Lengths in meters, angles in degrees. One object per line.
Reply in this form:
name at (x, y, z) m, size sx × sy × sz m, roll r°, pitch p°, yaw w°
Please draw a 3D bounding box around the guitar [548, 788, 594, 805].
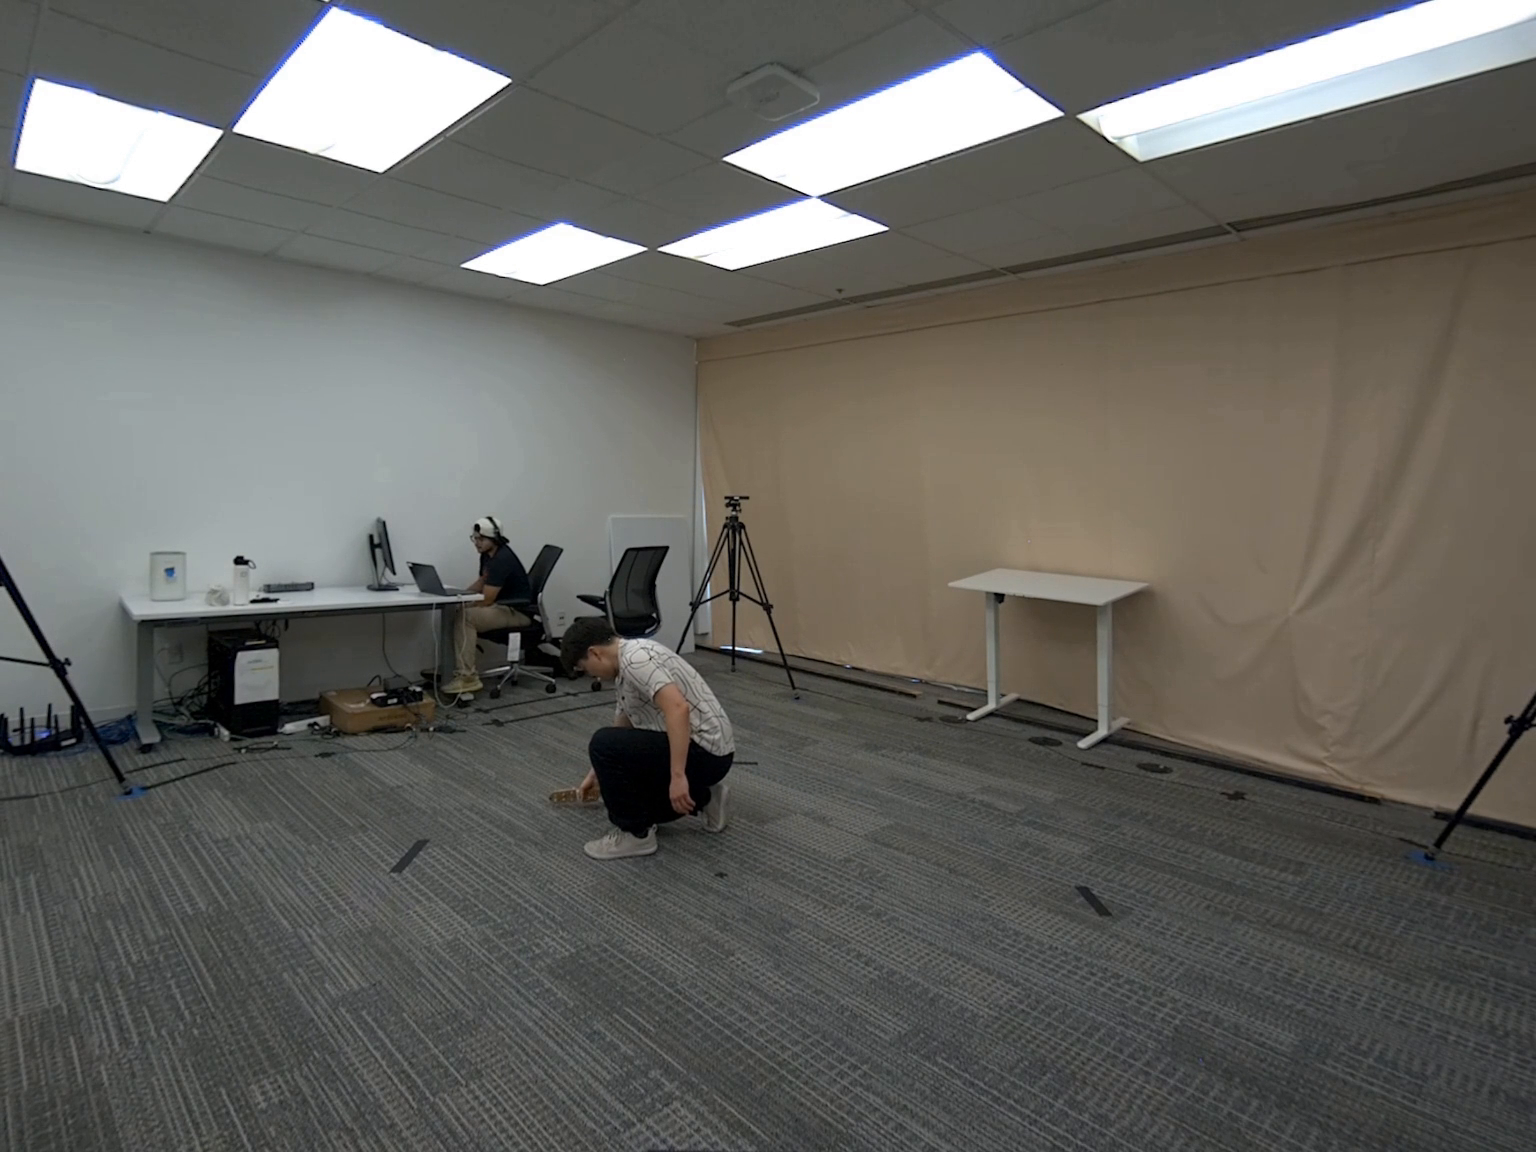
guitar at (-0.735, 0.942, 3.767) m, size 0.498 × 0.192 × 0.071 m, roll 2°, pitch 6°, yaw 0°
